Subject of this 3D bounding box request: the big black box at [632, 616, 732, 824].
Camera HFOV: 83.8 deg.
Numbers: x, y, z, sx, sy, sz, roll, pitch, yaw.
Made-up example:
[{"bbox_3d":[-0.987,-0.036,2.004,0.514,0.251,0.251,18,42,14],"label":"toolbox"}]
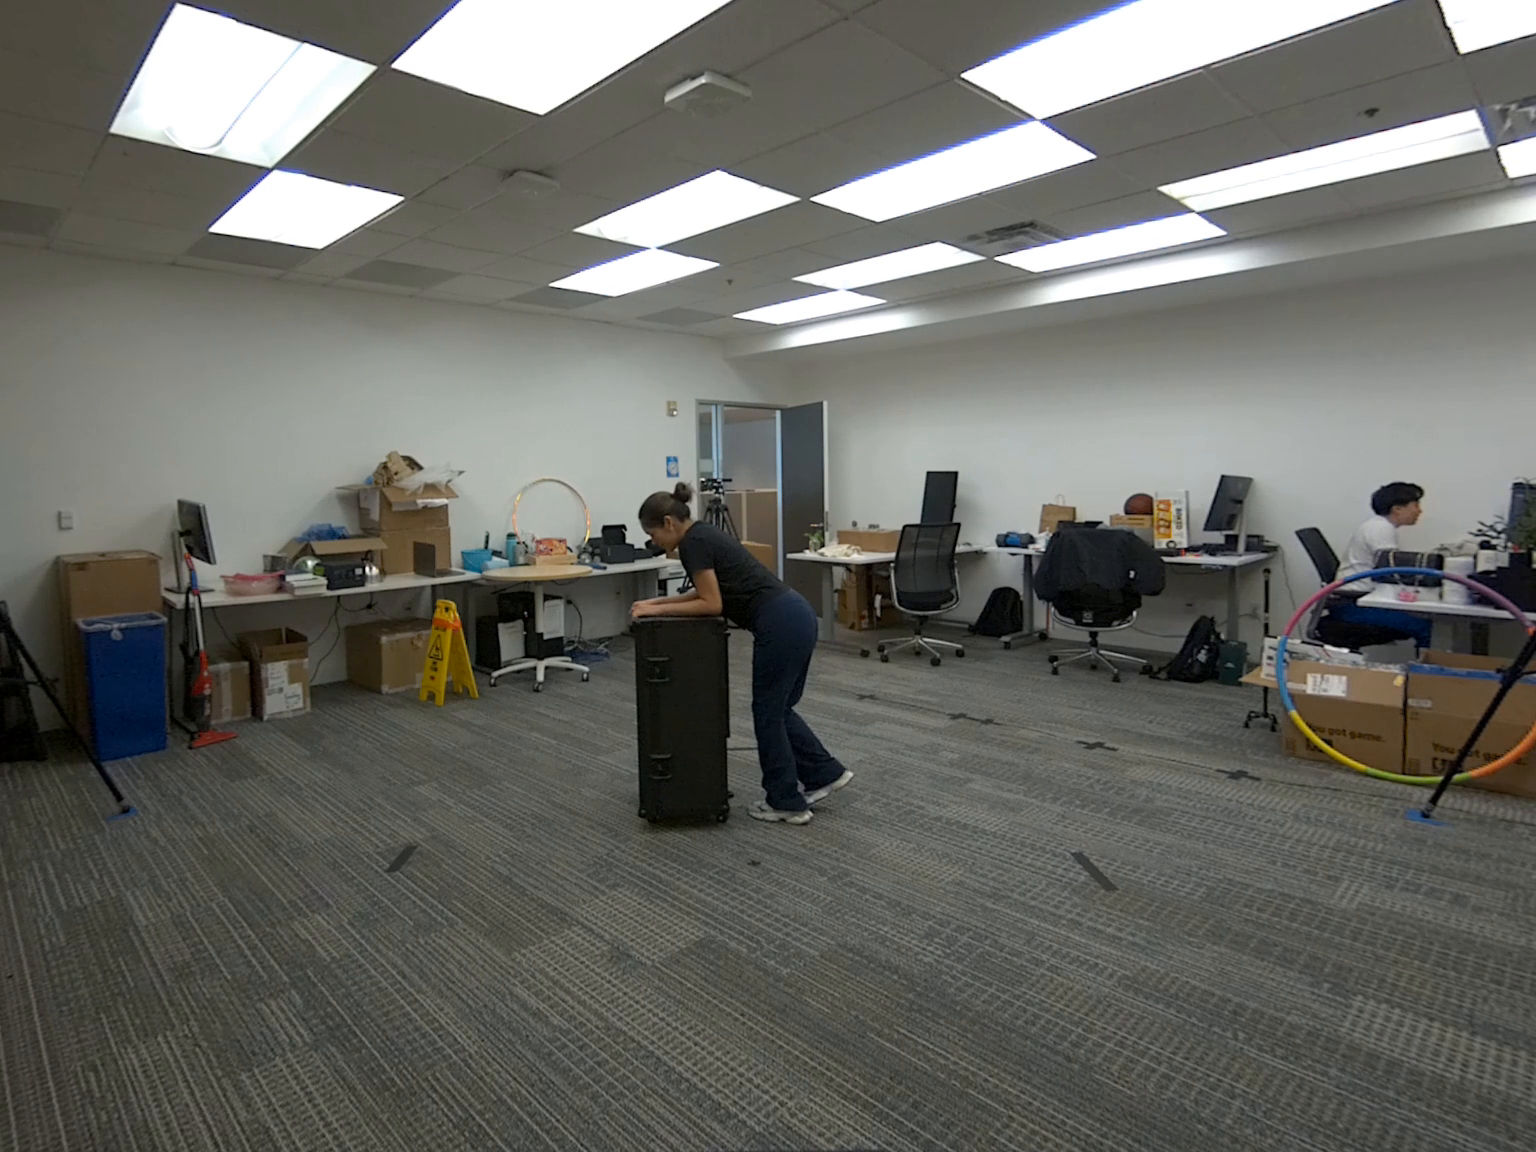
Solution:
[{"bbox_3d":[-0.362,0.510,3.602,0.394,0.858,0.525,-1,4,-6],"label":"big black box"}]
